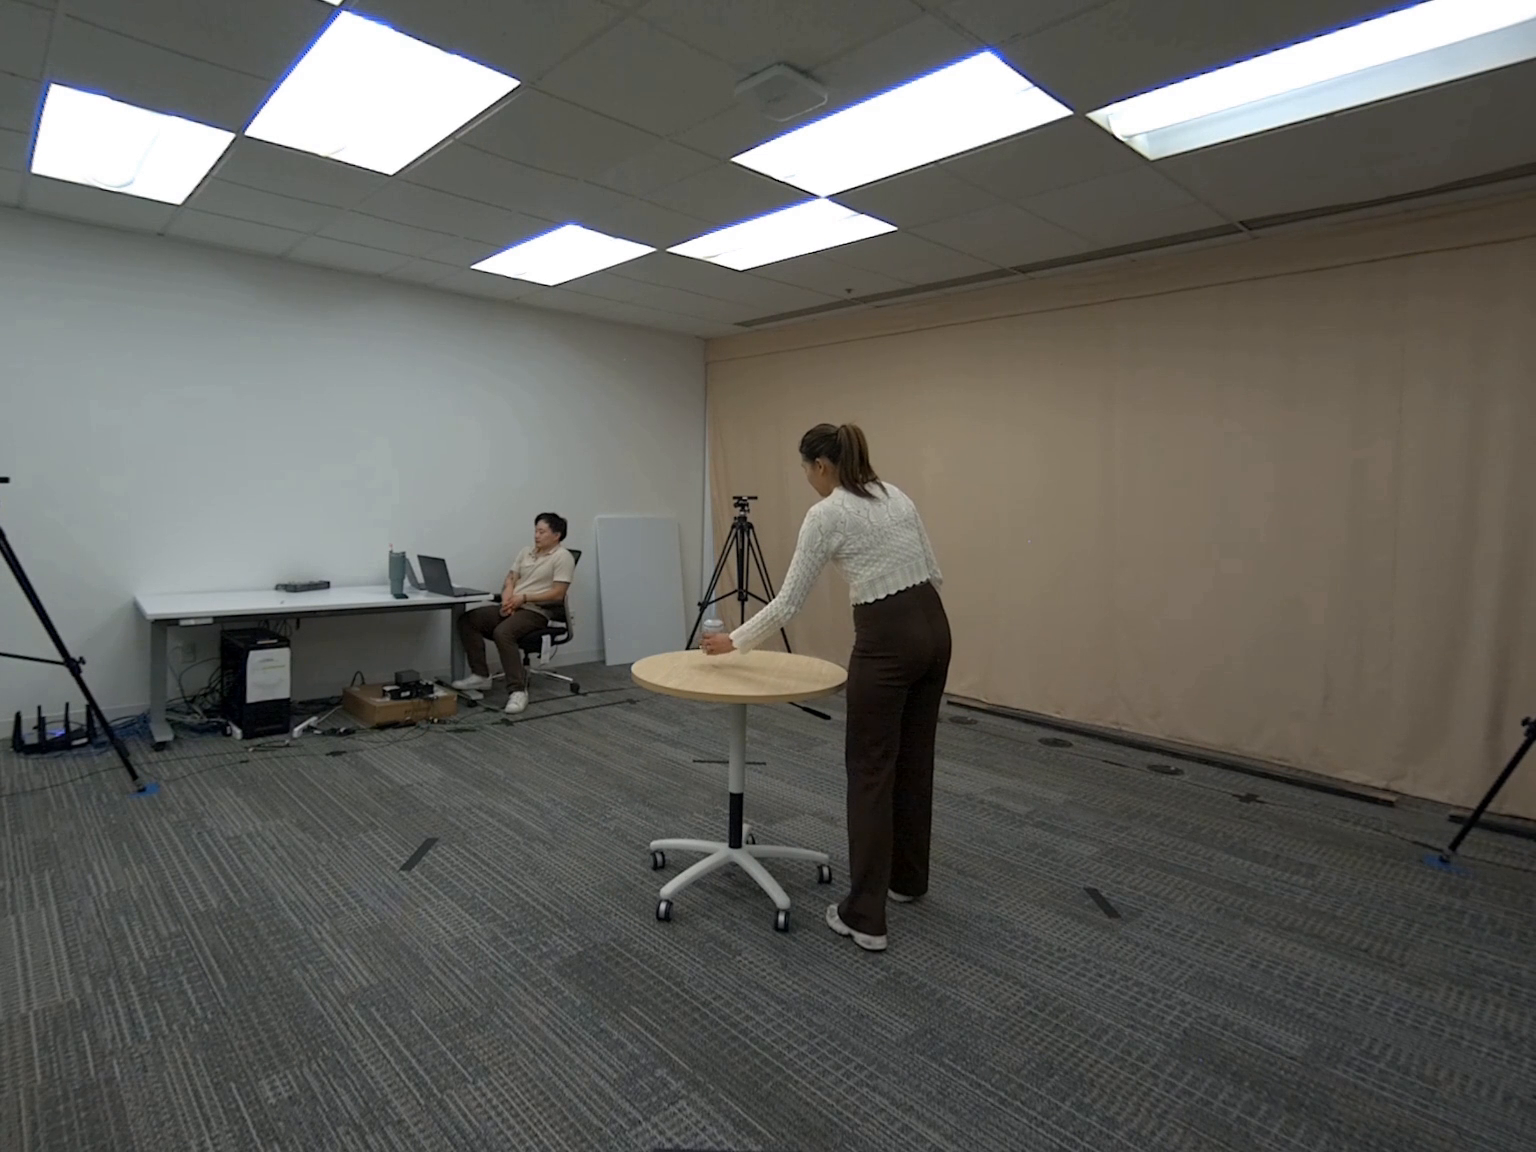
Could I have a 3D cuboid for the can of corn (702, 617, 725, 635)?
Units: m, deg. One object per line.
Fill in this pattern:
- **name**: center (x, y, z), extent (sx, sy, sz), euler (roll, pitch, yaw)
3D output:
- **can of corn**: center (-0.193, 0.224, 3.002), extent (0.074, 0.110, 0.075), euler (3, 11, -2)
